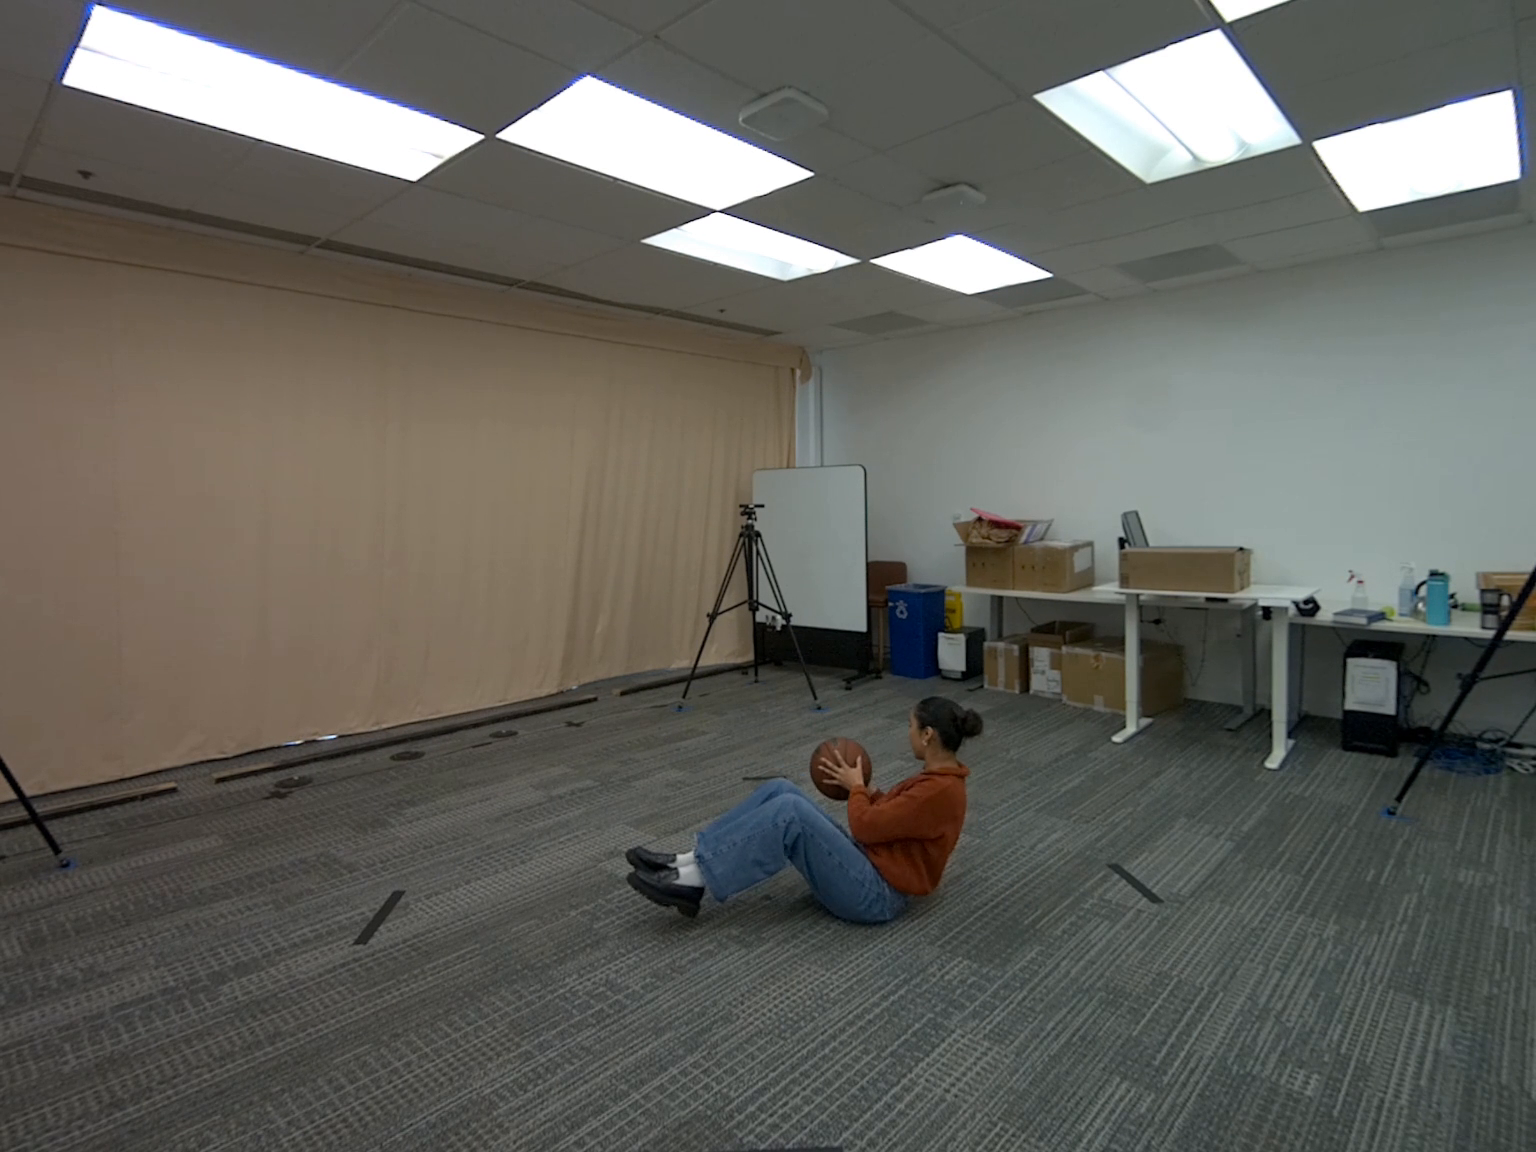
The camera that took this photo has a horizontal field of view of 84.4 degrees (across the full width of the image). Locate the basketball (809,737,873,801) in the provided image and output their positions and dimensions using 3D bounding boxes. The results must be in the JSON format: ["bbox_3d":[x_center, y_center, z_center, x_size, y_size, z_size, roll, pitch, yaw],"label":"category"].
[{"bbox_3d":[0.279,0.729,3.200,0.236,0.235,0.237,-1,4,-2],"label":"basketball"}]
